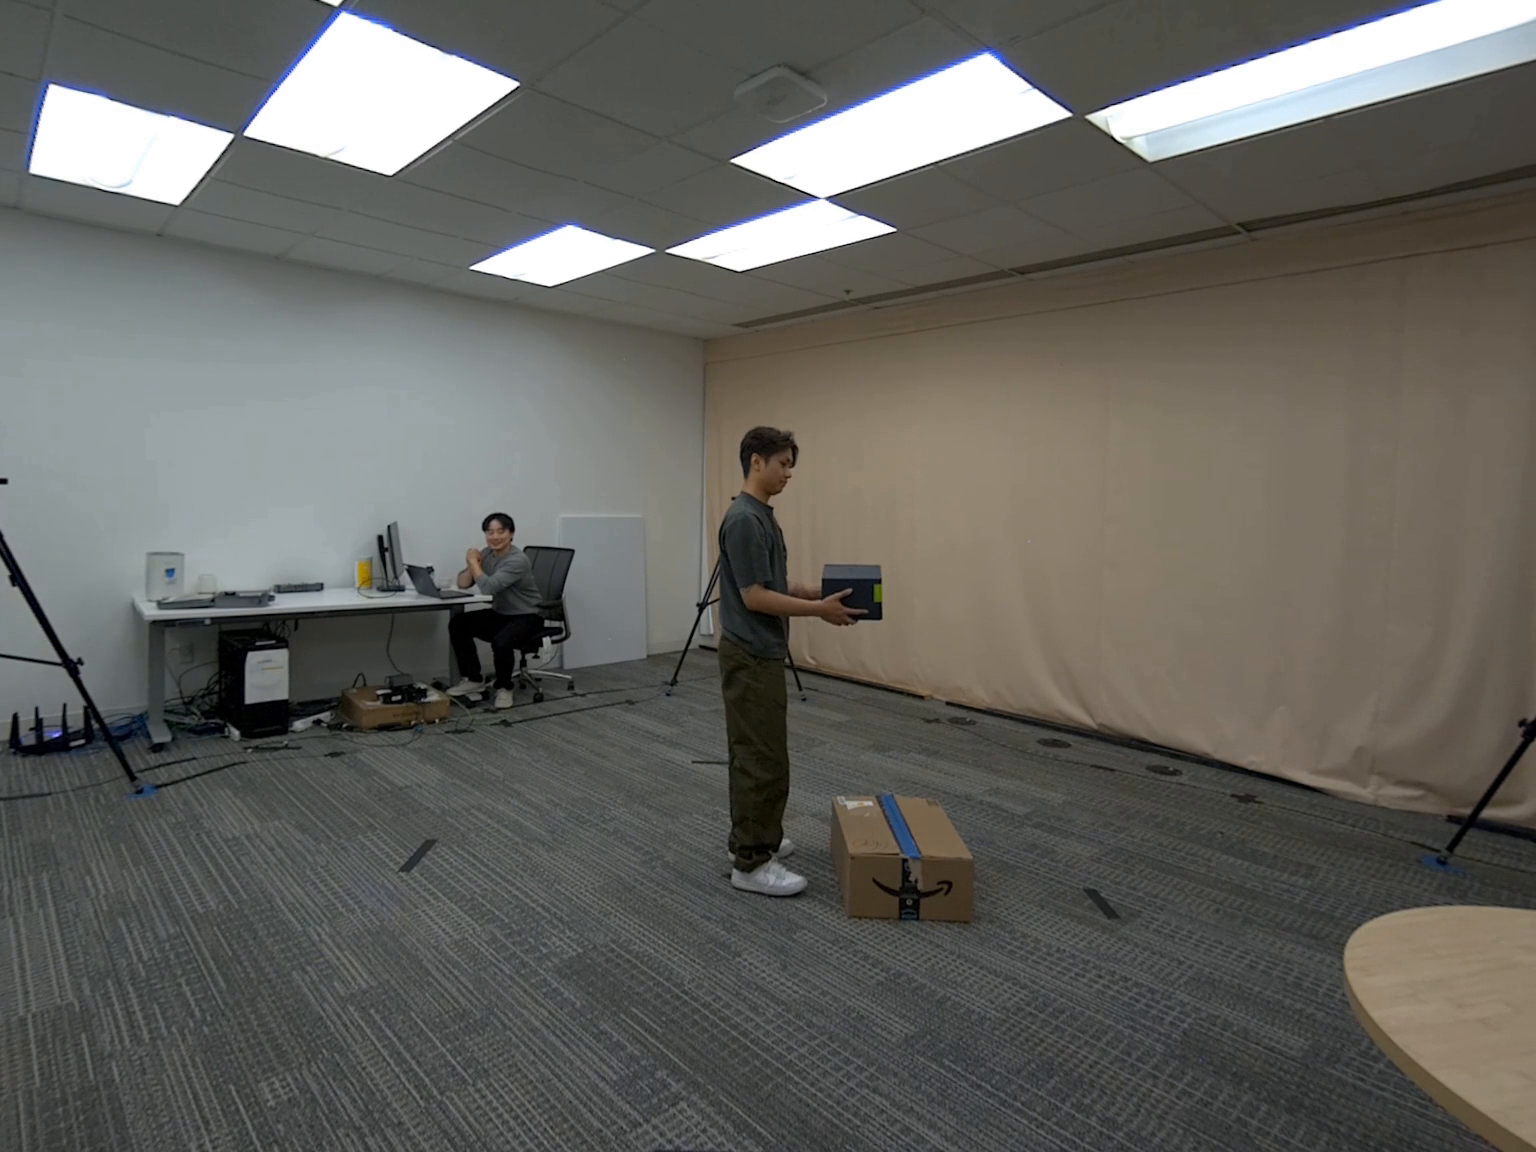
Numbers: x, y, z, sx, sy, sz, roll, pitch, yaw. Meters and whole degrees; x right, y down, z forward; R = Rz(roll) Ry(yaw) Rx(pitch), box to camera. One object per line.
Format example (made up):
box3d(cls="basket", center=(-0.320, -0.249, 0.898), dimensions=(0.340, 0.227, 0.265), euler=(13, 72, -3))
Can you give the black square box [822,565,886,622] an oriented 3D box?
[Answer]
box3d(cls="black square box", center=(0.310, 0.058, 3.095), dimensions=(0.218, 0.154, 0.228), euler=(0, 12, 6))
